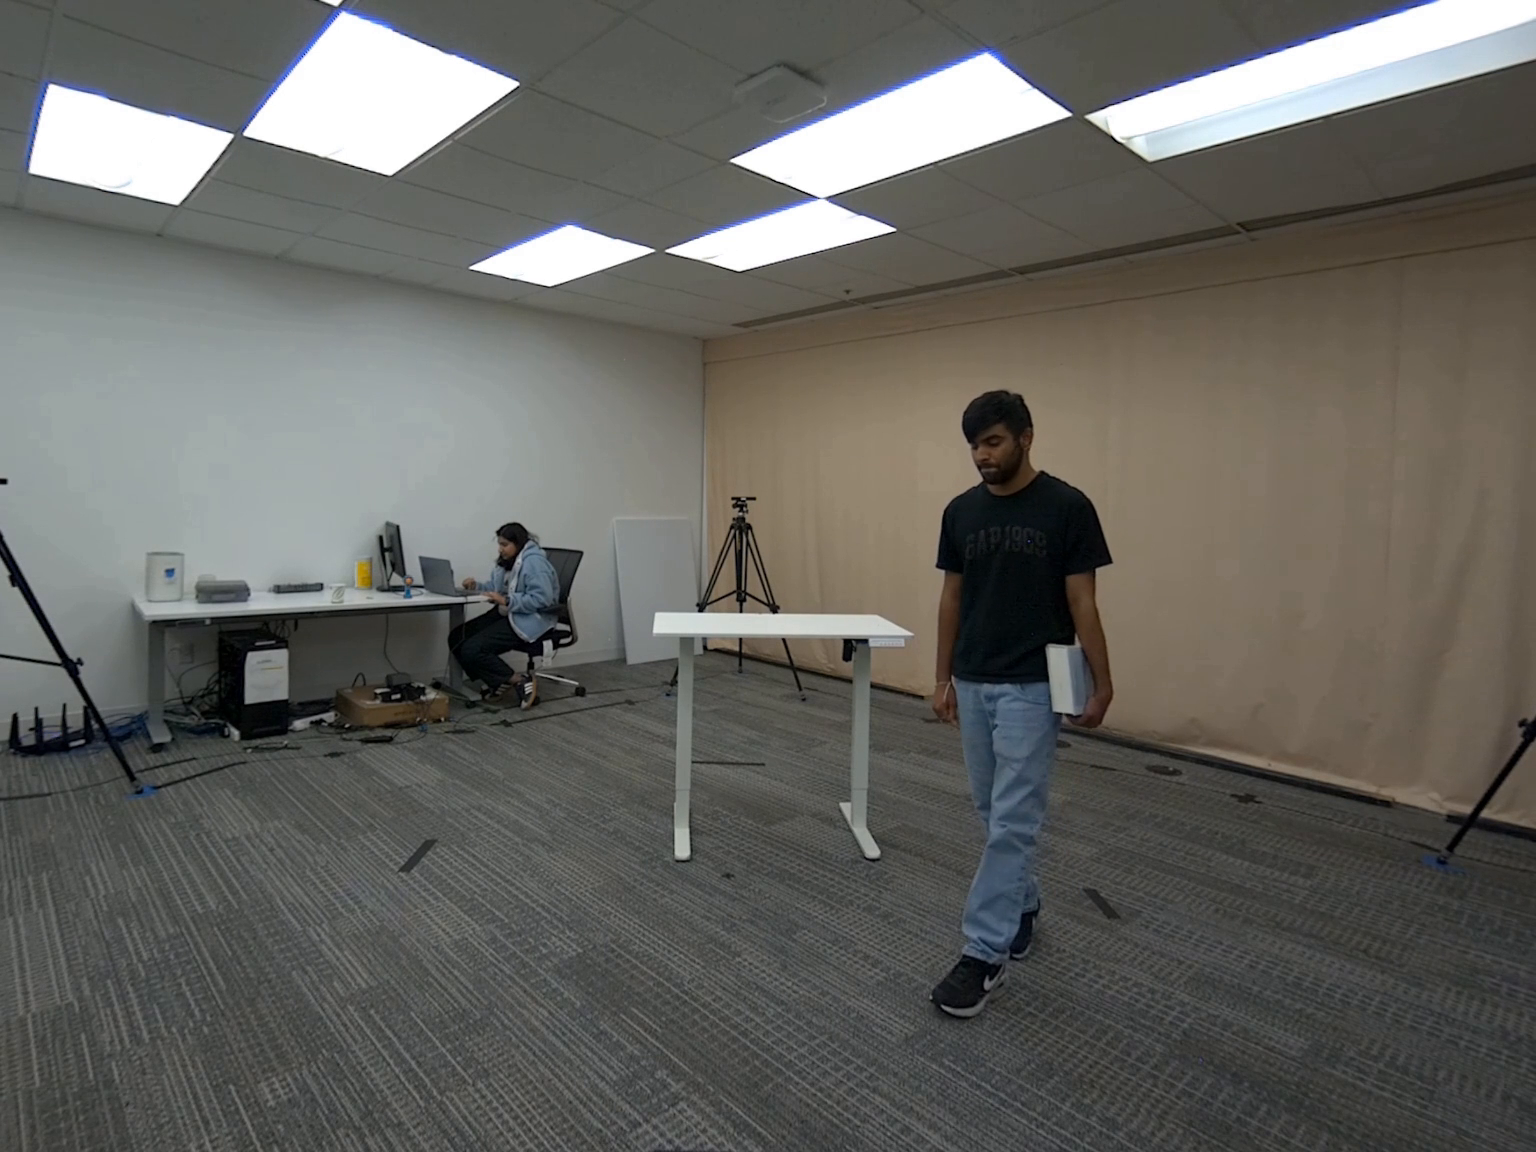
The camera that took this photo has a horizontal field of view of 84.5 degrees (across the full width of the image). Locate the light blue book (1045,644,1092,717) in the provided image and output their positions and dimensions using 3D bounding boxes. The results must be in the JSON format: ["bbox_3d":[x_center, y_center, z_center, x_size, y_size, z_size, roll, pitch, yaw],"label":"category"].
[{"bbox_3d":[0.875,0.287,2.405,0.060,0.192,0.254,-8,-9,40],"label":"light blue book"}]
